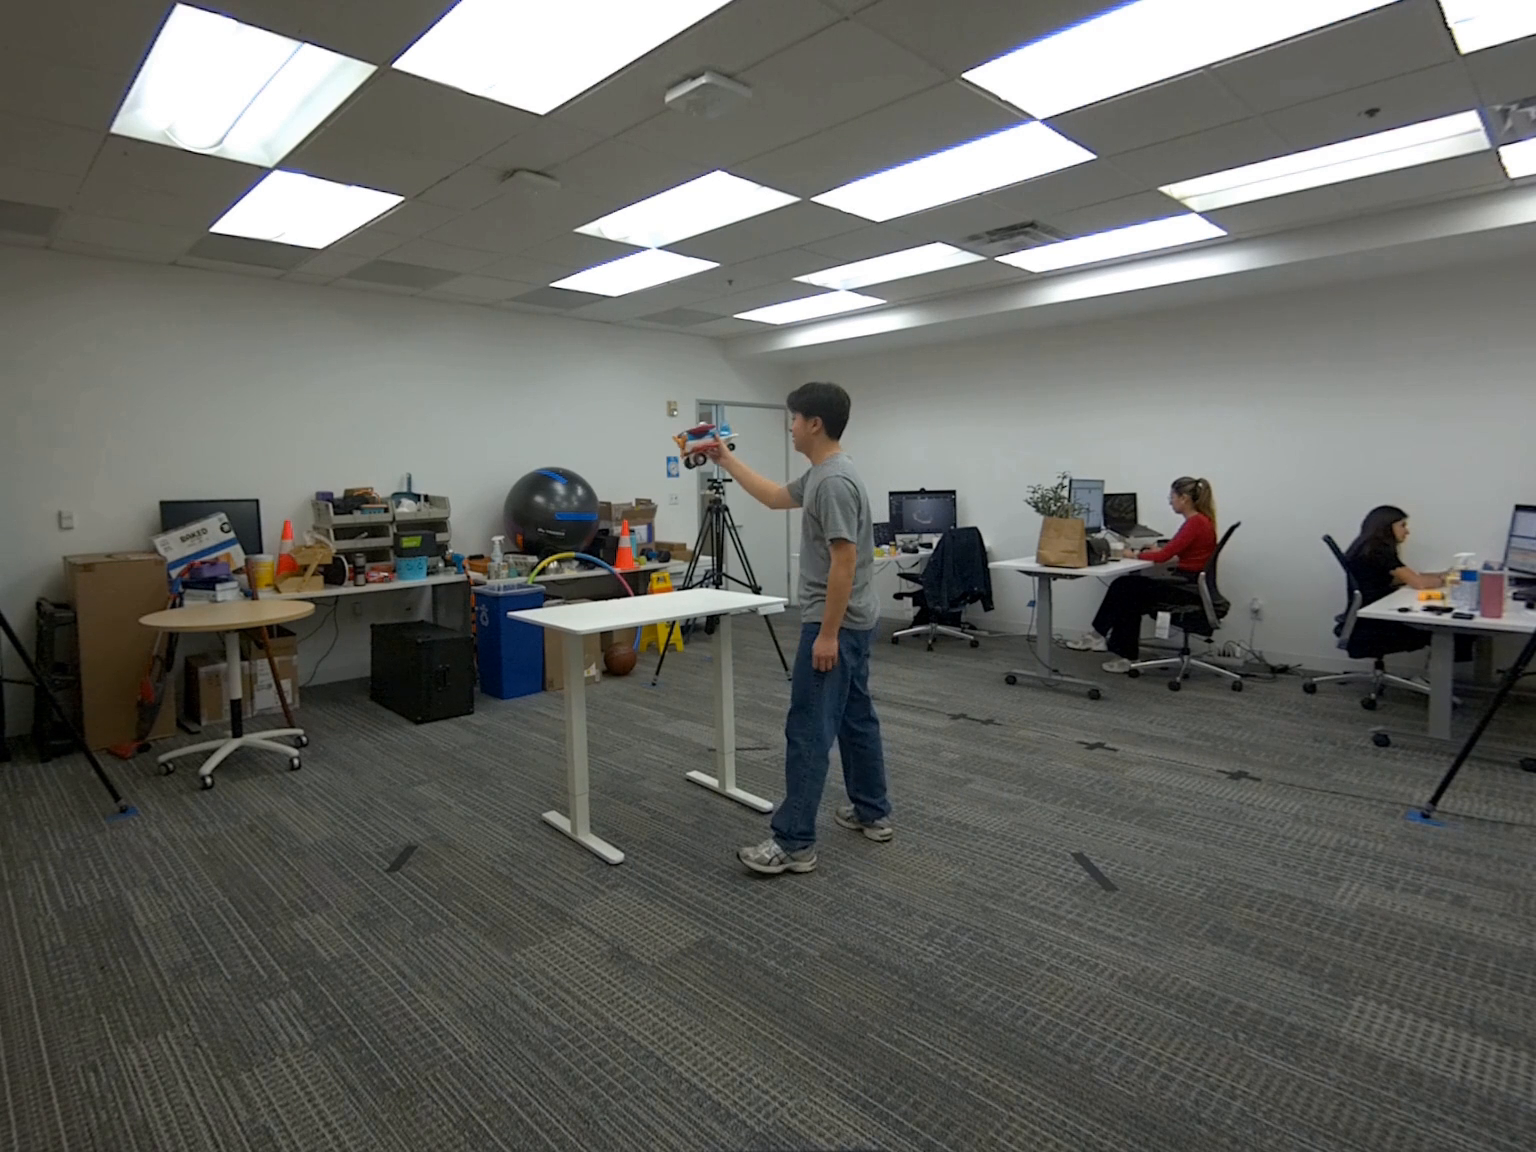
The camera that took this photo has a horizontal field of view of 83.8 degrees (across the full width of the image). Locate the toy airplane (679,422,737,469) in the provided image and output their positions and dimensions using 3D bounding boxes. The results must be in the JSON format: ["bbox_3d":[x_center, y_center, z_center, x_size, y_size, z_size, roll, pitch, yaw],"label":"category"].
[{"bbox_3d":[-0.261,-0.562,3.571,0.256,0.154,0.258,-15,14,31],"label":"toy airplane"}]
